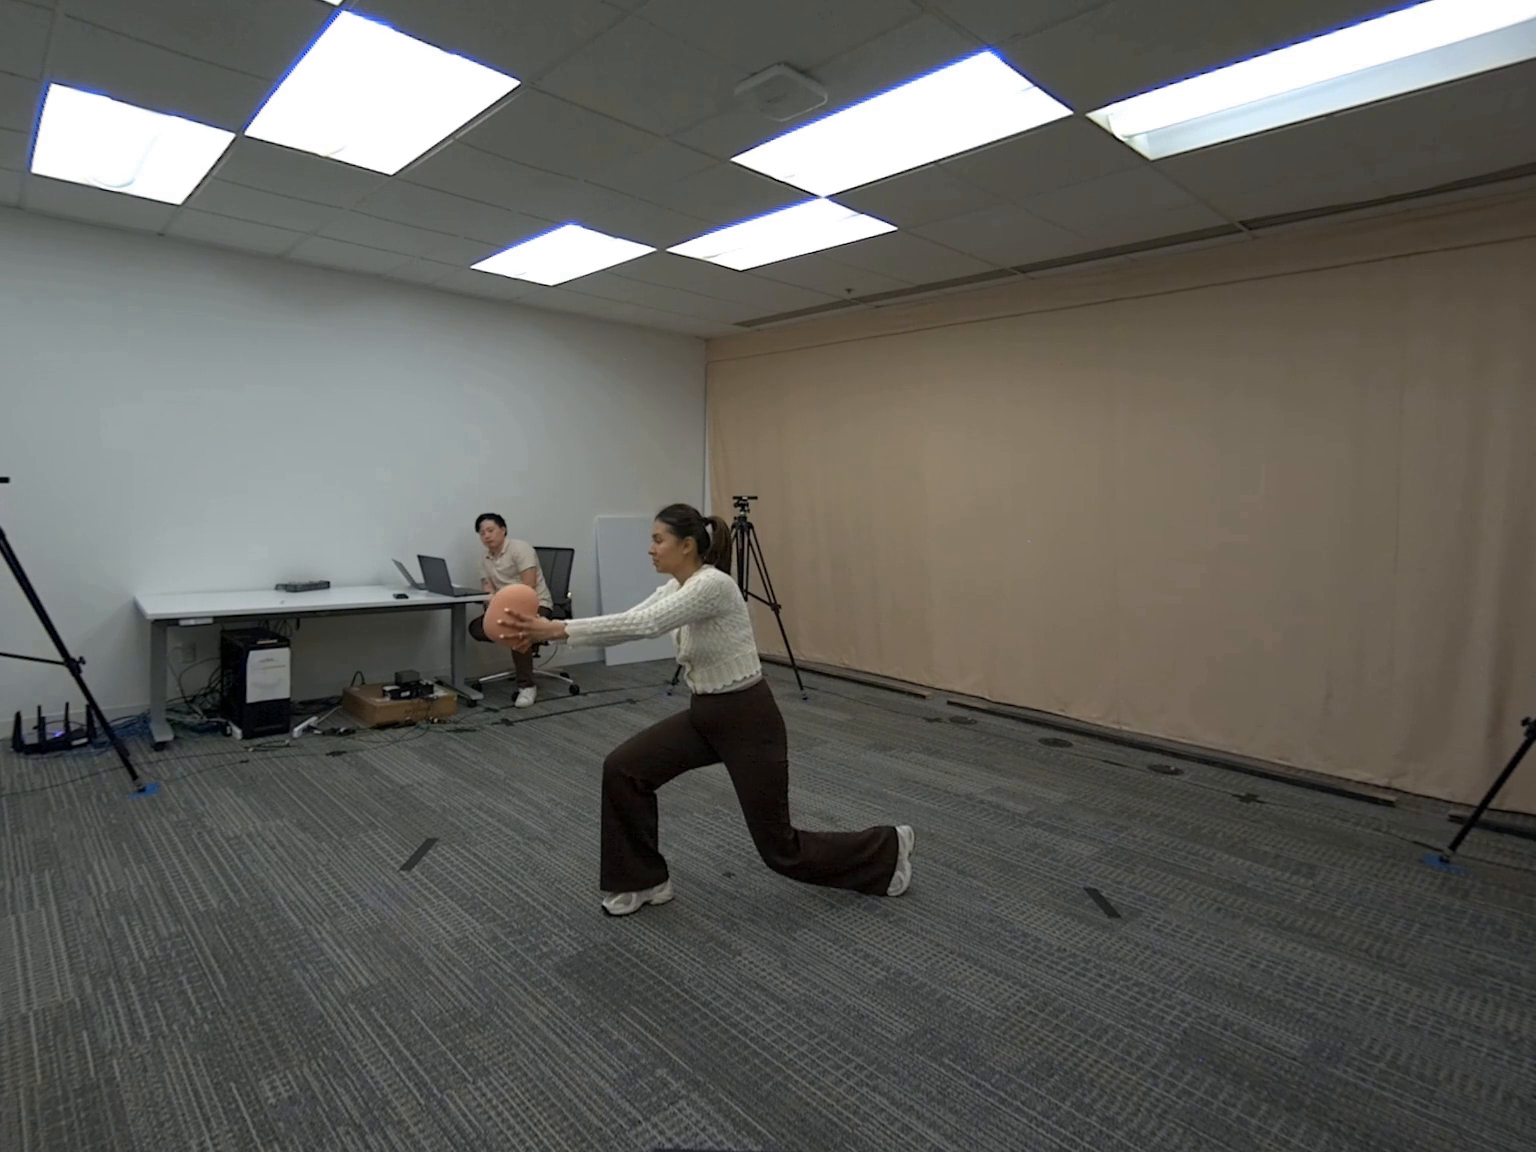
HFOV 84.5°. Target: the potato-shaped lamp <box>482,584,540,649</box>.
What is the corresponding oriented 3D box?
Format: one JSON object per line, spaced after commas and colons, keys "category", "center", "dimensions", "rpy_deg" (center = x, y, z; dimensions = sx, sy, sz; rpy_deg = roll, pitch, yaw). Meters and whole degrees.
{"category": "potato-shaped lamp", "center": [-0.794, 0.122, 2.639], "dimensions": [0.171, 0.198, 0.165], "rpy_deg": [27, -1, -1]}
